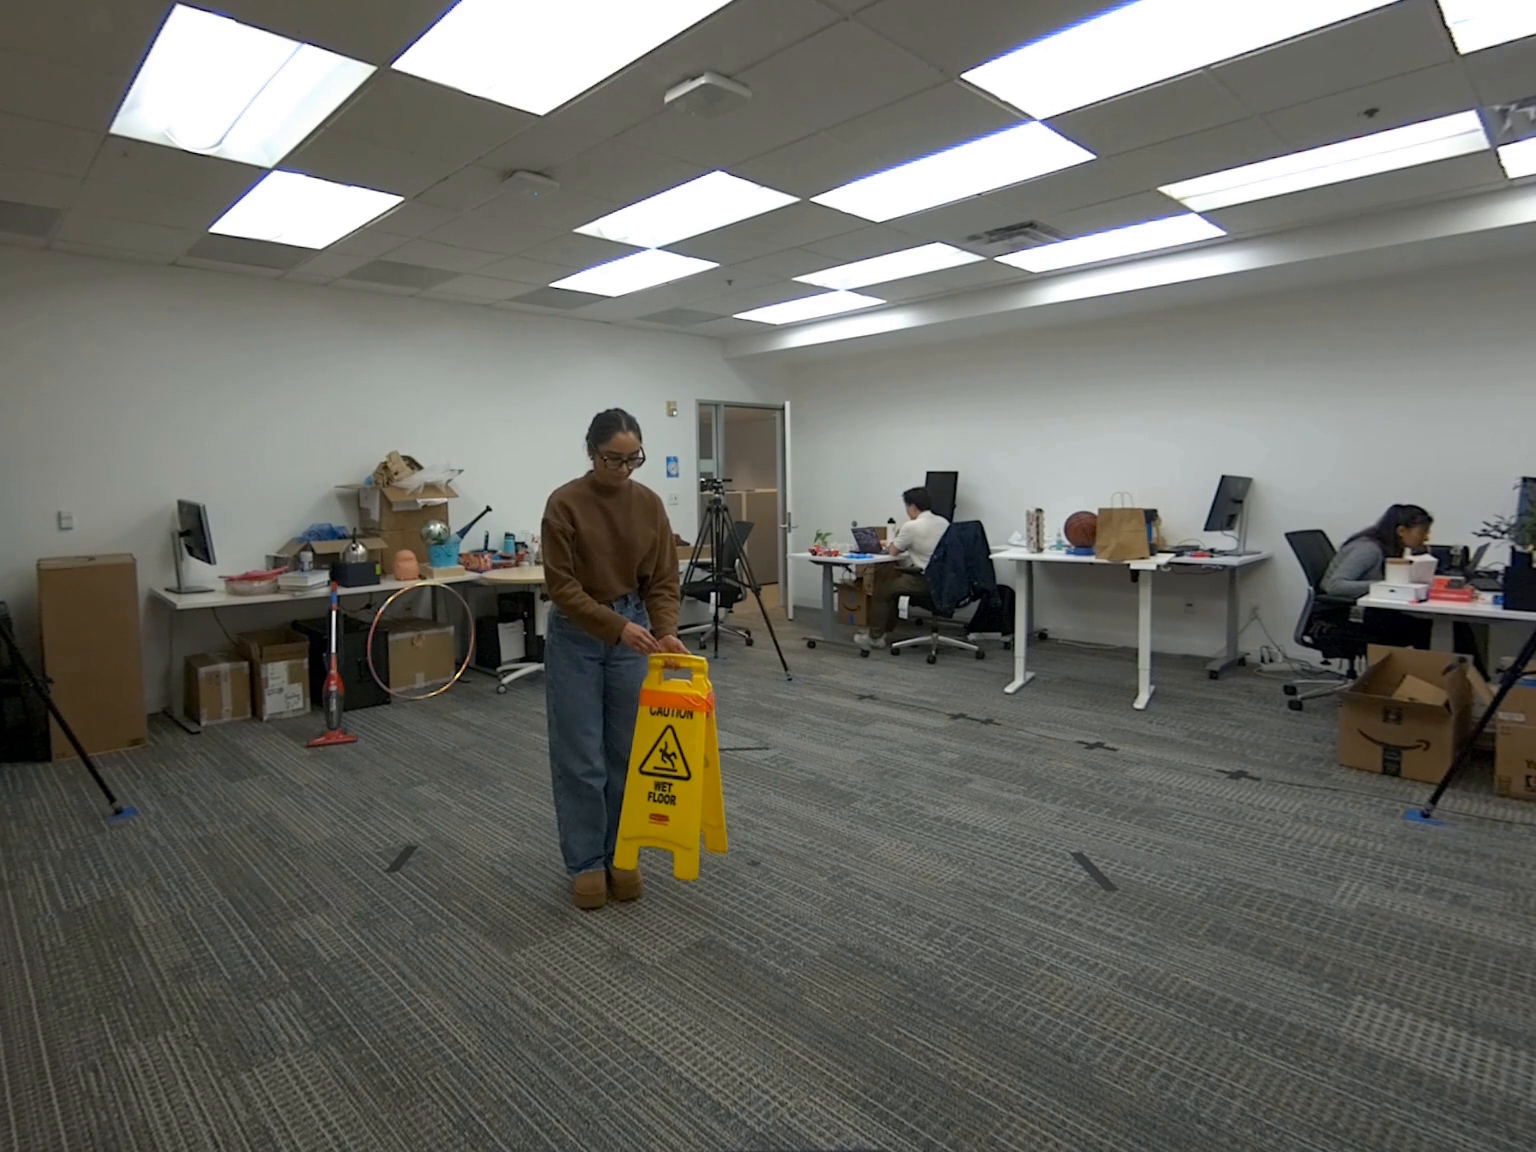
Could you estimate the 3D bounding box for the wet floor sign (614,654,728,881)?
[{"bbox_3d":[-0.292,0.576,2.716,0.287,0.647,0.284,-1,-1,18],"label":"wet floor sign"}]
